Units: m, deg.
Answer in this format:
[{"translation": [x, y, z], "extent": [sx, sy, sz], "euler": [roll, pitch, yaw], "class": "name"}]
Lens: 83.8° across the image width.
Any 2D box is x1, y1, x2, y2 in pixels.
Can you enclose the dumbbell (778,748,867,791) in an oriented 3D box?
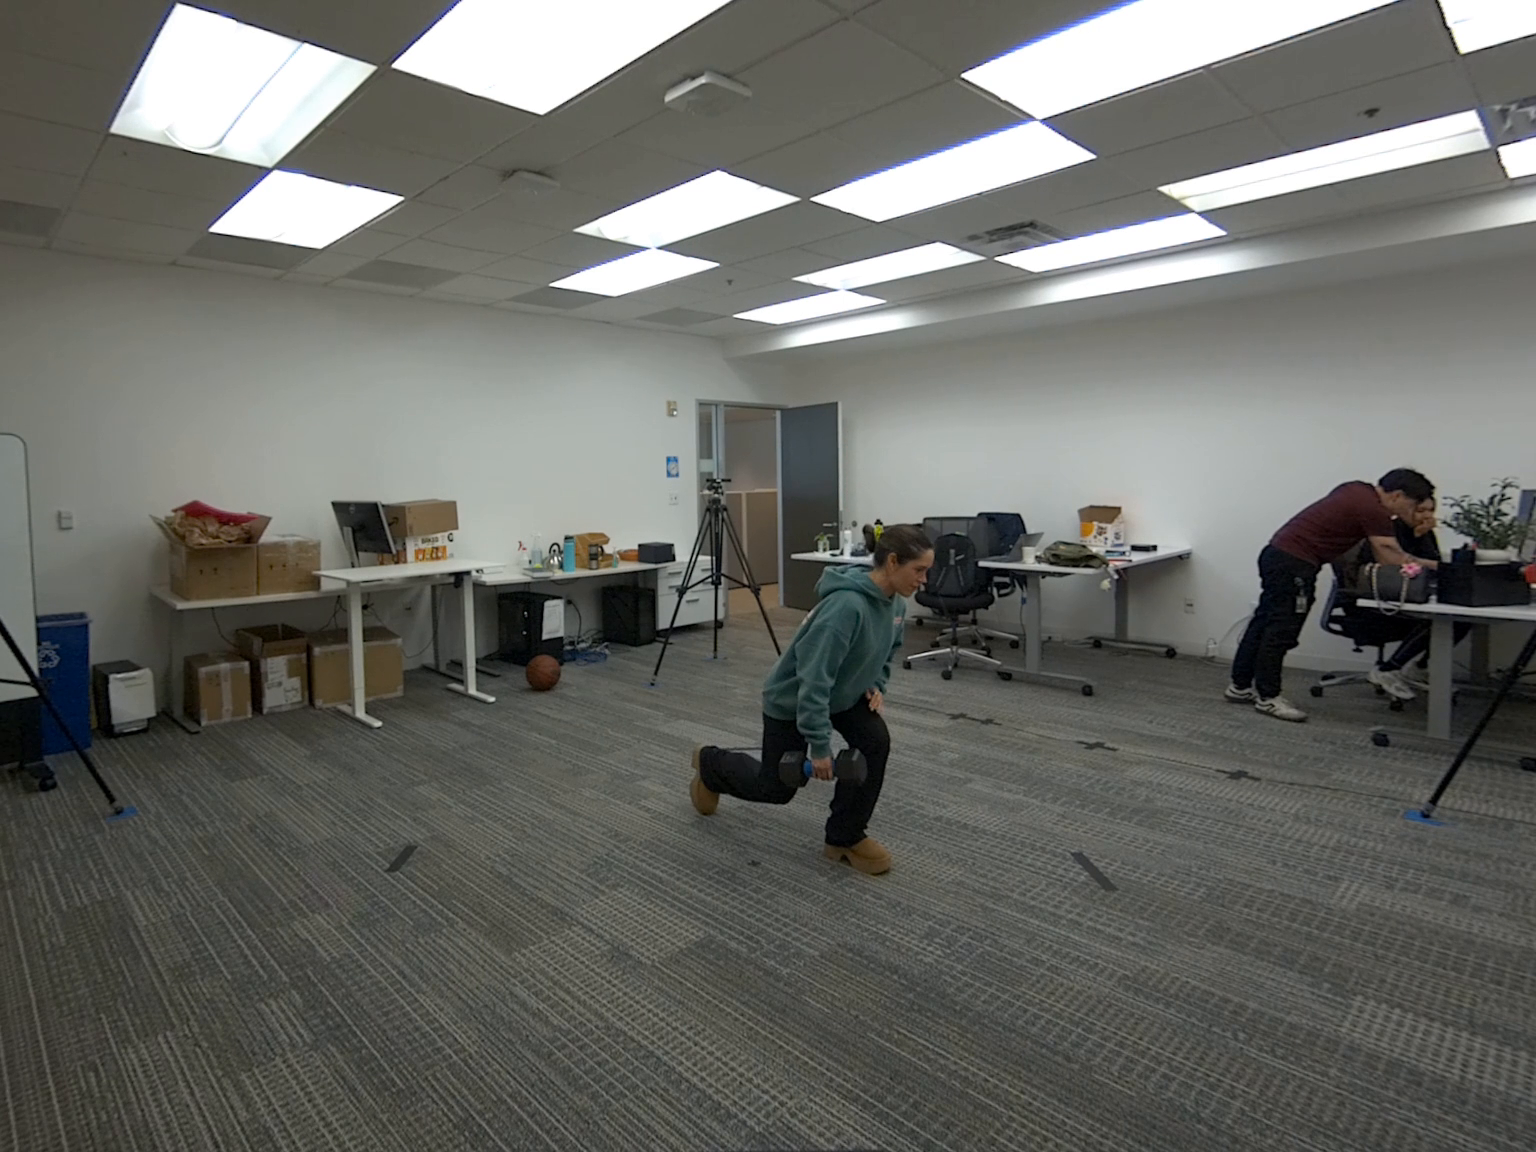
[{"translation": [0.185, 0.664, 2.942], "extent": [0.299, 0.111, 0.118], "euler": [-10, -39, 30], "class": "dumbbell"}]
